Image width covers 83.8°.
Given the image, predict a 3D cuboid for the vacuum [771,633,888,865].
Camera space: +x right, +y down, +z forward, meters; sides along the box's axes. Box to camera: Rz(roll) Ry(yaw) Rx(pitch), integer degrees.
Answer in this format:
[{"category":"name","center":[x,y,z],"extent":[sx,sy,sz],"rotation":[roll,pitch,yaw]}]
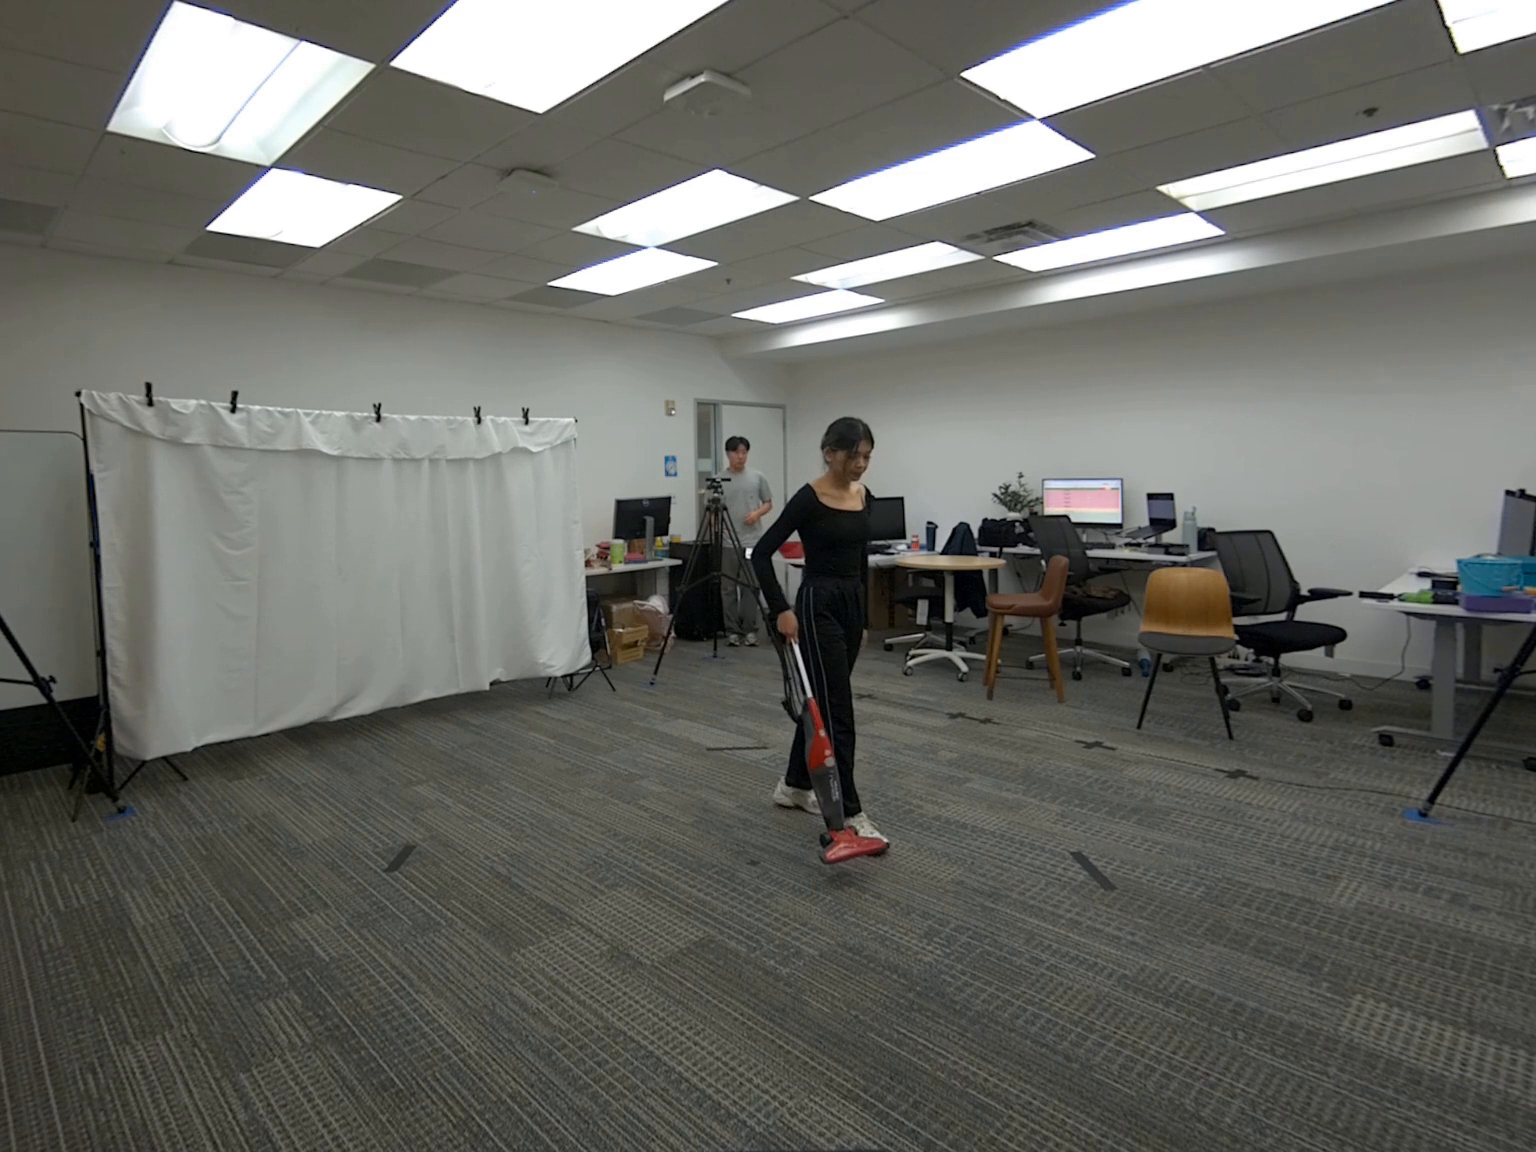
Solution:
[{"category":"vacuum","center":[0.141,0.475,3.150],"extent":[0.248,1.072,0.143],"rotation":[-7,-22,-24]}]
